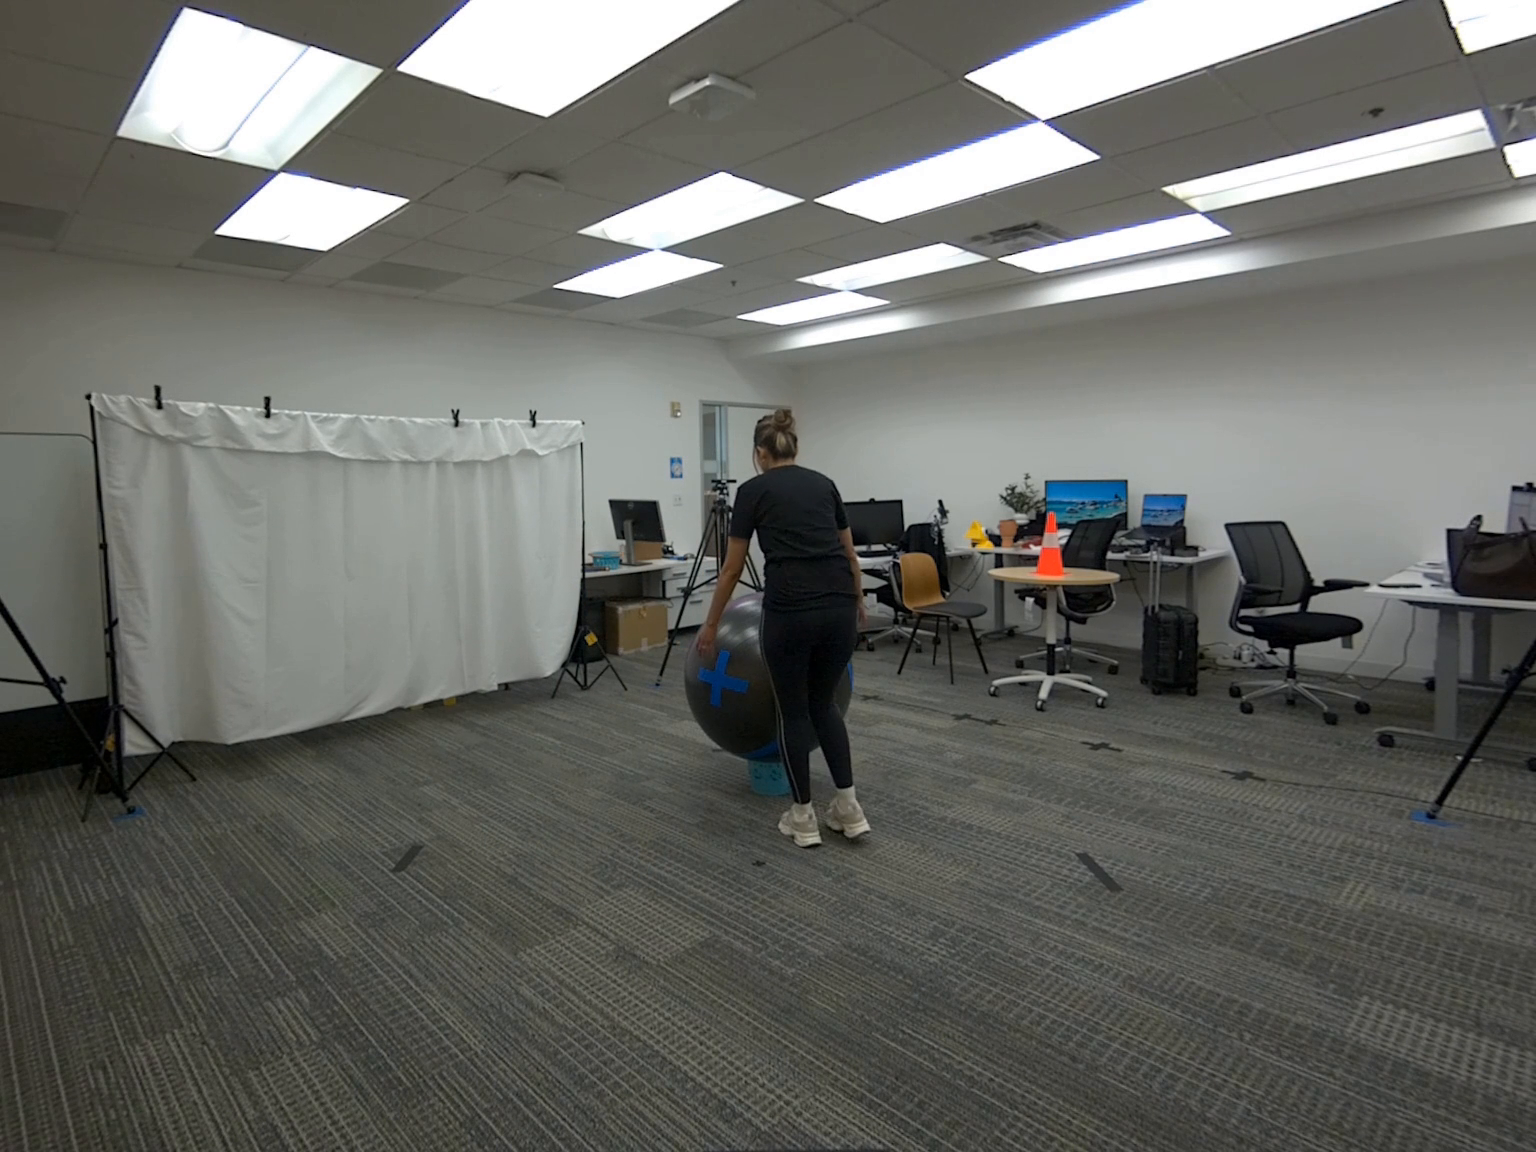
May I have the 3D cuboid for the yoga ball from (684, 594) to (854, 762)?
[{"bbox_3d":[-0.001,0.454,3.856,0.757,0.755,0.762,-1,5,-2],"label":"yoga ball"}]
